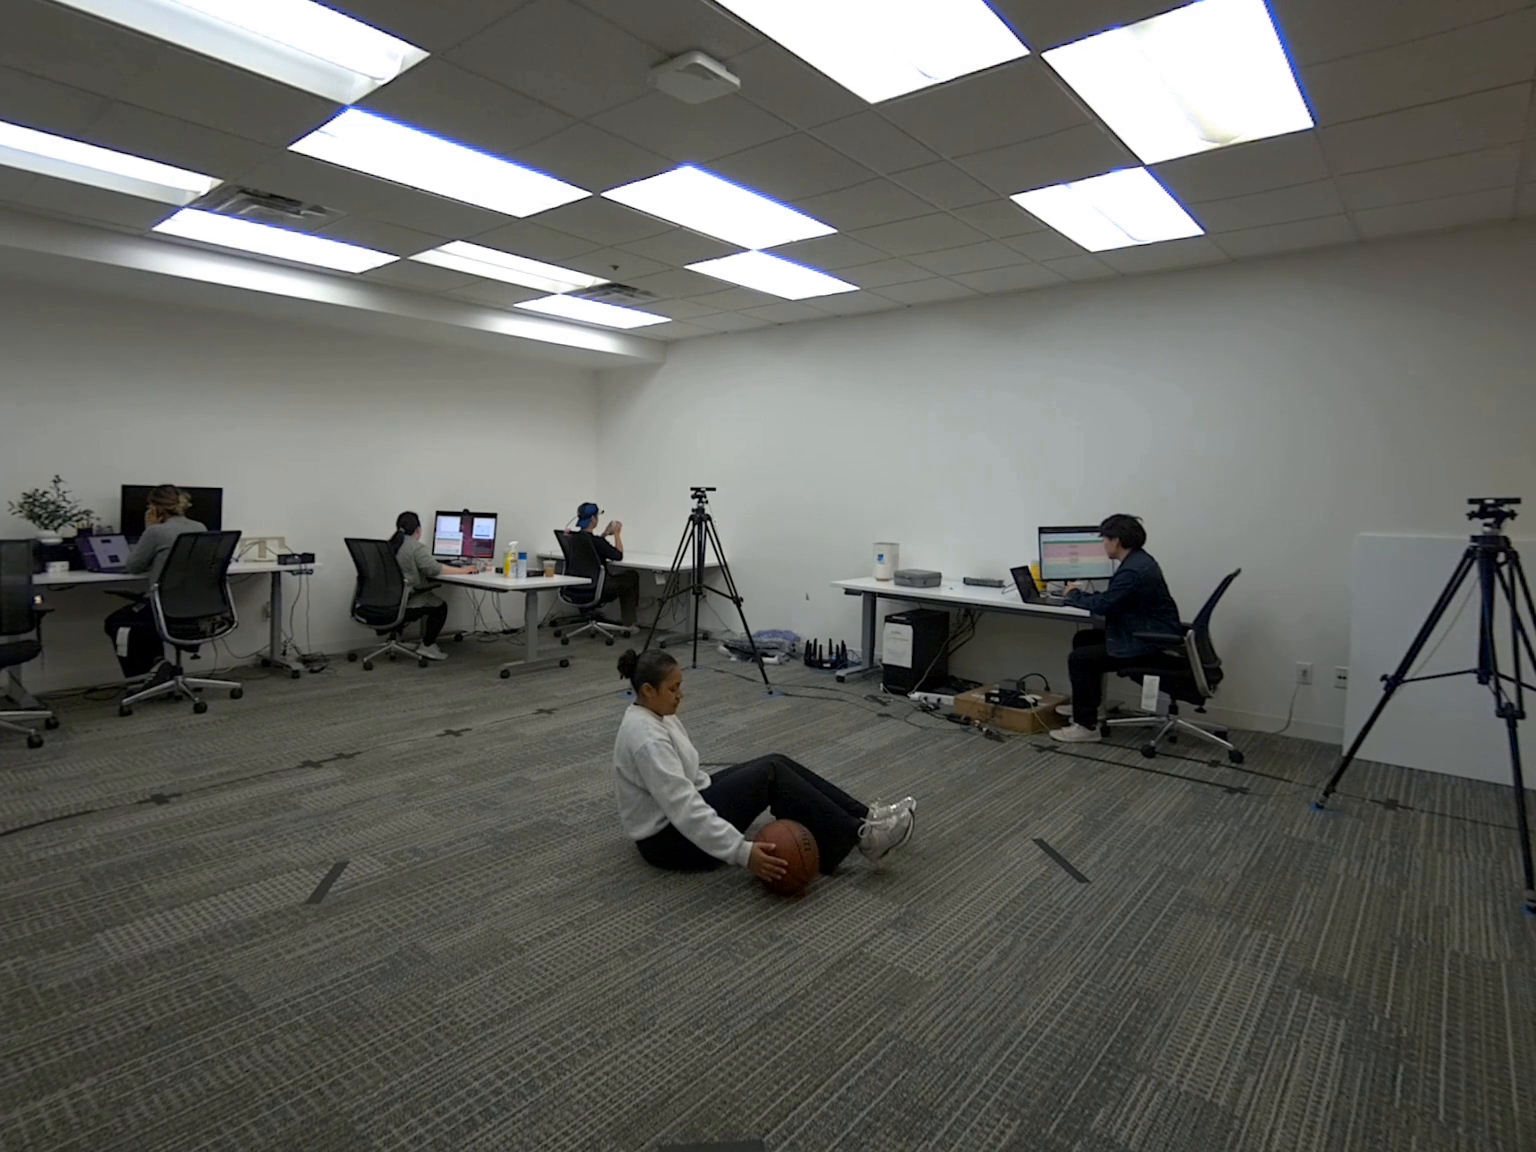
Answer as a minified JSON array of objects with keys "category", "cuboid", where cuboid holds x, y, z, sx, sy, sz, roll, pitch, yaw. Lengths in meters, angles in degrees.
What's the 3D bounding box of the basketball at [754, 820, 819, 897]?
[{"category":"basketball","cuboid":[0.048,0.972,2.951,0.235,0.235,0.237,1,4,-2]}]
